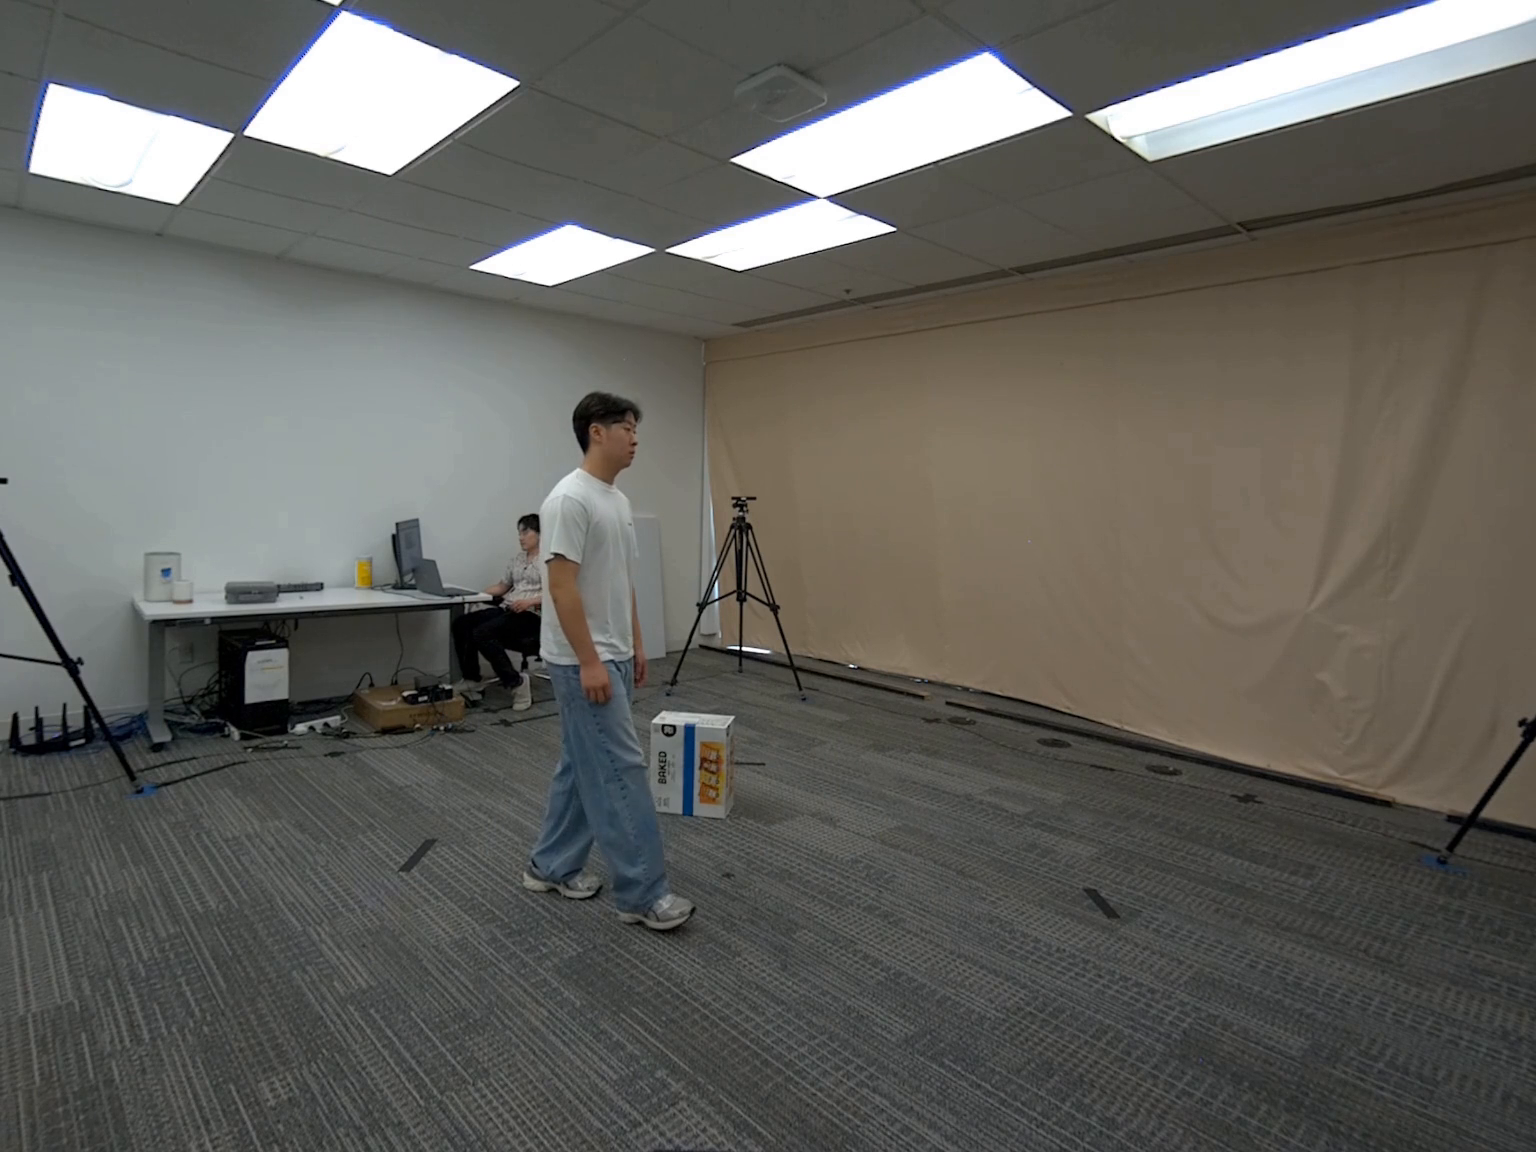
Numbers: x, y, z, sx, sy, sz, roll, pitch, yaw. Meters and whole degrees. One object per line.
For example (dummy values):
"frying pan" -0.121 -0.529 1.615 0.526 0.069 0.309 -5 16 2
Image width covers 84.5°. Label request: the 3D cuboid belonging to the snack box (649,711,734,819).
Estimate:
"snack box" -0.351 0.841 3.776 0.343 0.404 0.204 2 4 11
